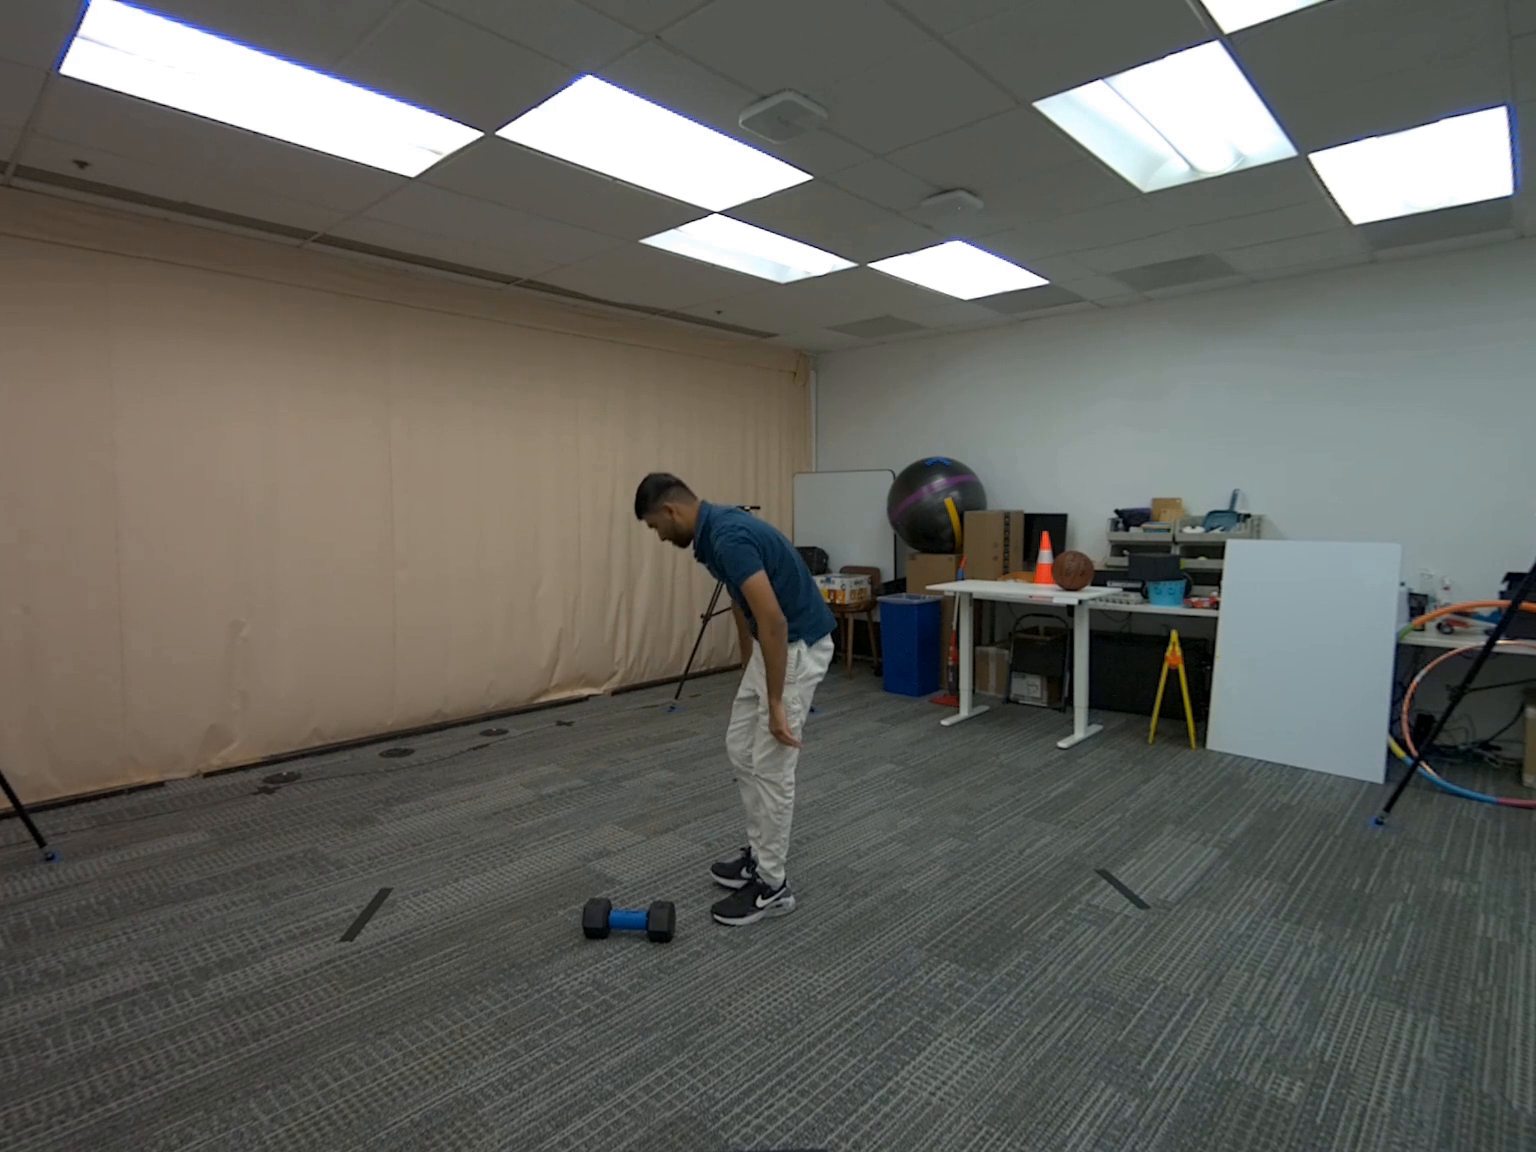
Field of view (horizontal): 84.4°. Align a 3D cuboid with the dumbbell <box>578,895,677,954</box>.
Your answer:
[{"bbox_3d":[-0.451,1.115,2.721,0.296,0.108,0.122,0,5,7],"label":"dumbbell"}]
